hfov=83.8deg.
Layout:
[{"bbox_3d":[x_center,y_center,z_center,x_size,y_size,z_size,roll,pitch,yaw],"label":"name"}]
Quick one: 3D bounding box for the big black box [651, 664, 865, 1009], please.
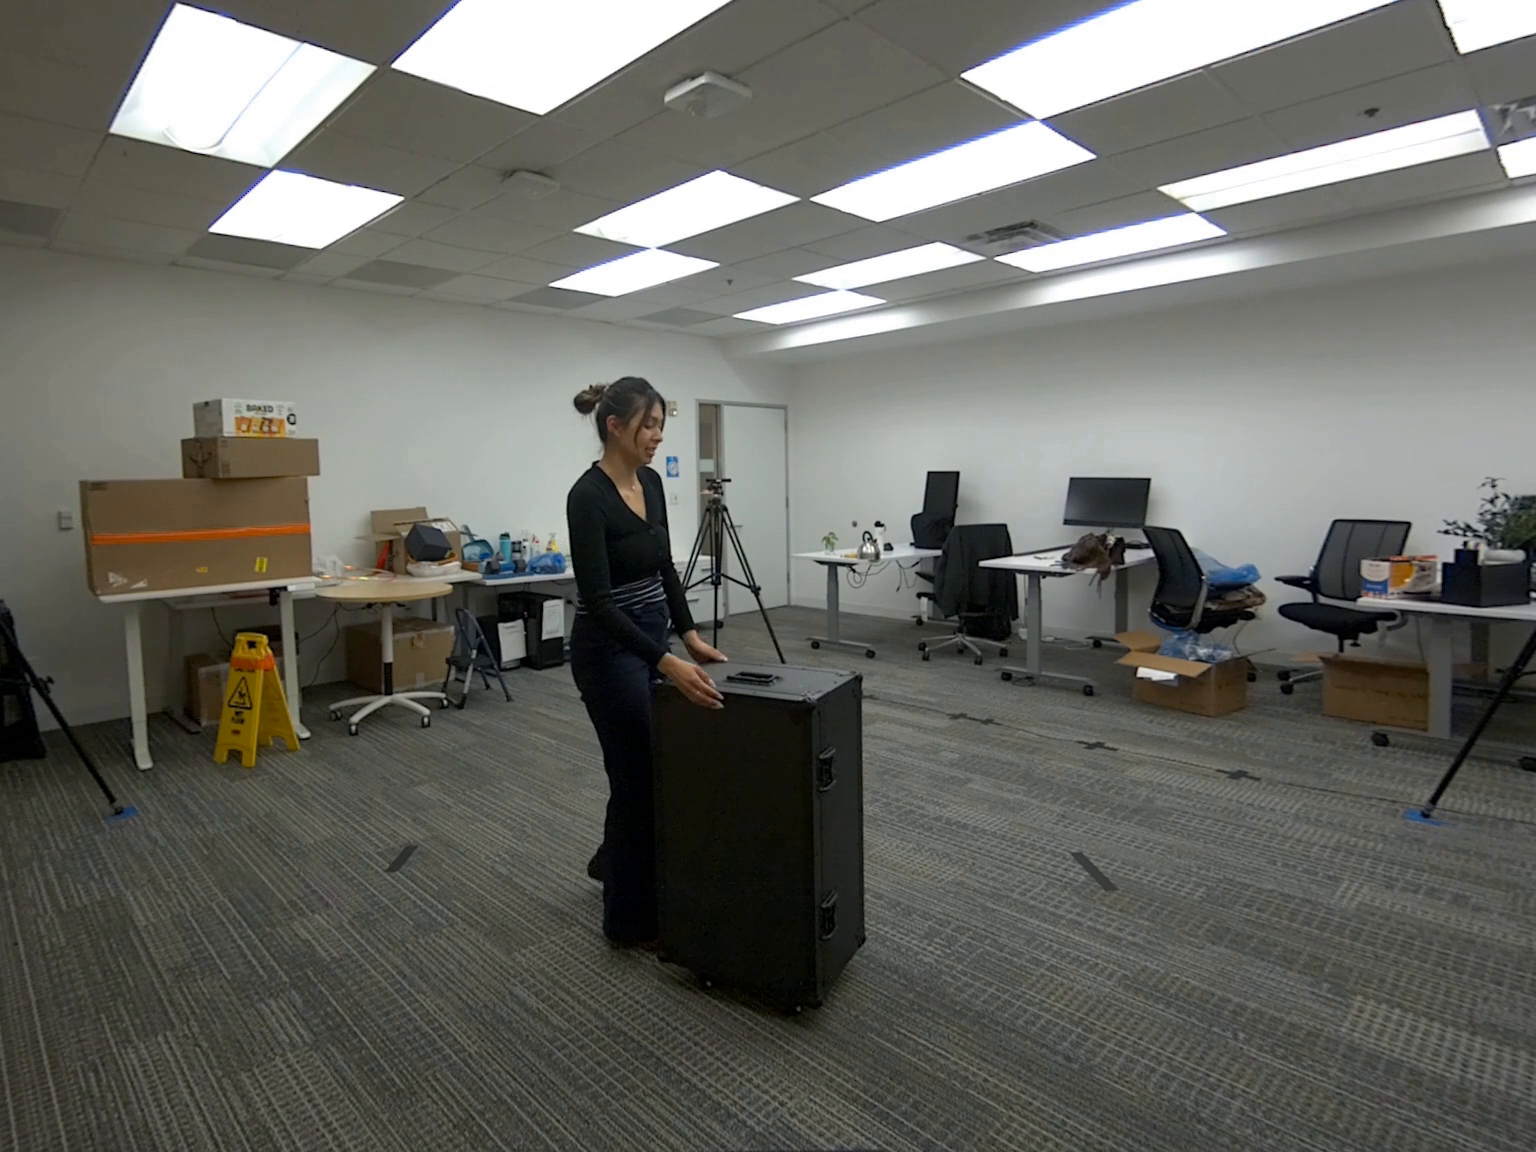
[{"bbox_3d":[-0.018,0.705,2.393,0.534,0.858,0.388,1,4,28],"label":"big black box"}]
